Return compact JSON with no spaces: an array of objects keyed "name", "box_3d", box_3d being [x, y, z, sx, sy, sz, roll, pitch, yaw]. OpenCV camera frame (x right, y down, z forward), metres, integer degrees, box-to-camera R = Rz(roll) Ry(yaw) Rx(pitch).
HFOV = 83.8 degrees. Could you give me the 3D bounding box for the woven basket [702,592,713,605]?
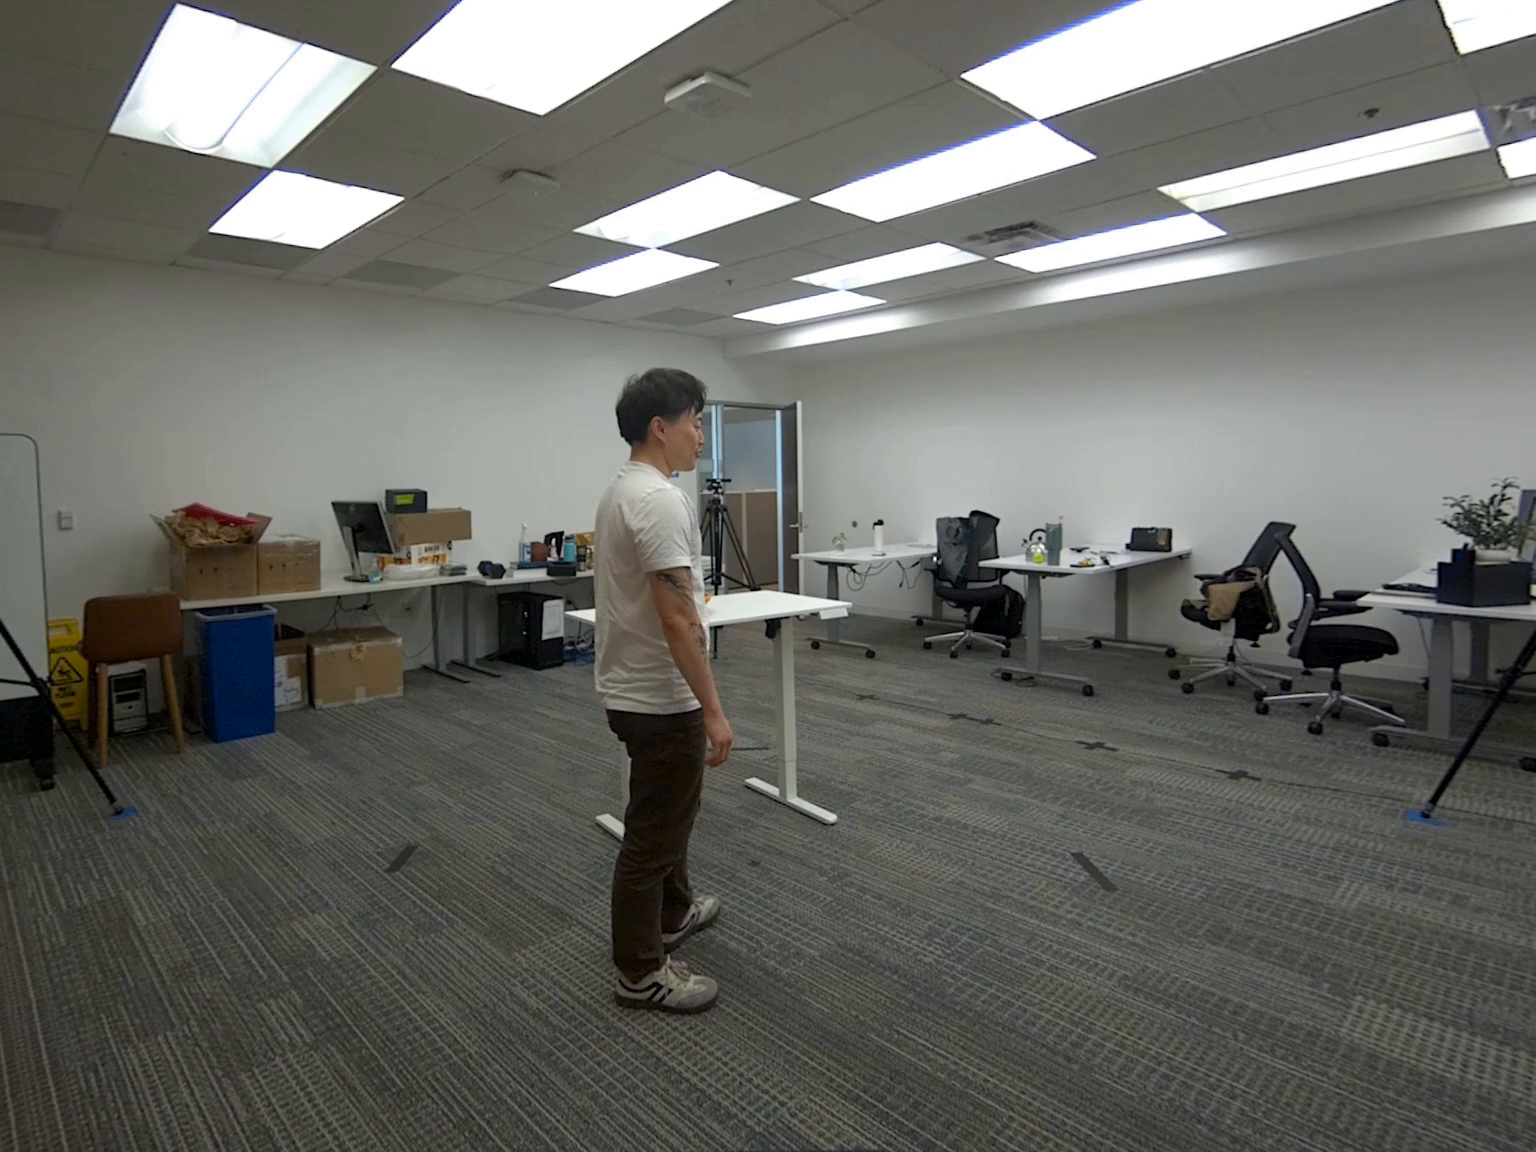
[{"name":"woven basket","box_3d":[-0.365,0.112,3.349,0.247,0.073,0.359,-4,6,-27]}]
